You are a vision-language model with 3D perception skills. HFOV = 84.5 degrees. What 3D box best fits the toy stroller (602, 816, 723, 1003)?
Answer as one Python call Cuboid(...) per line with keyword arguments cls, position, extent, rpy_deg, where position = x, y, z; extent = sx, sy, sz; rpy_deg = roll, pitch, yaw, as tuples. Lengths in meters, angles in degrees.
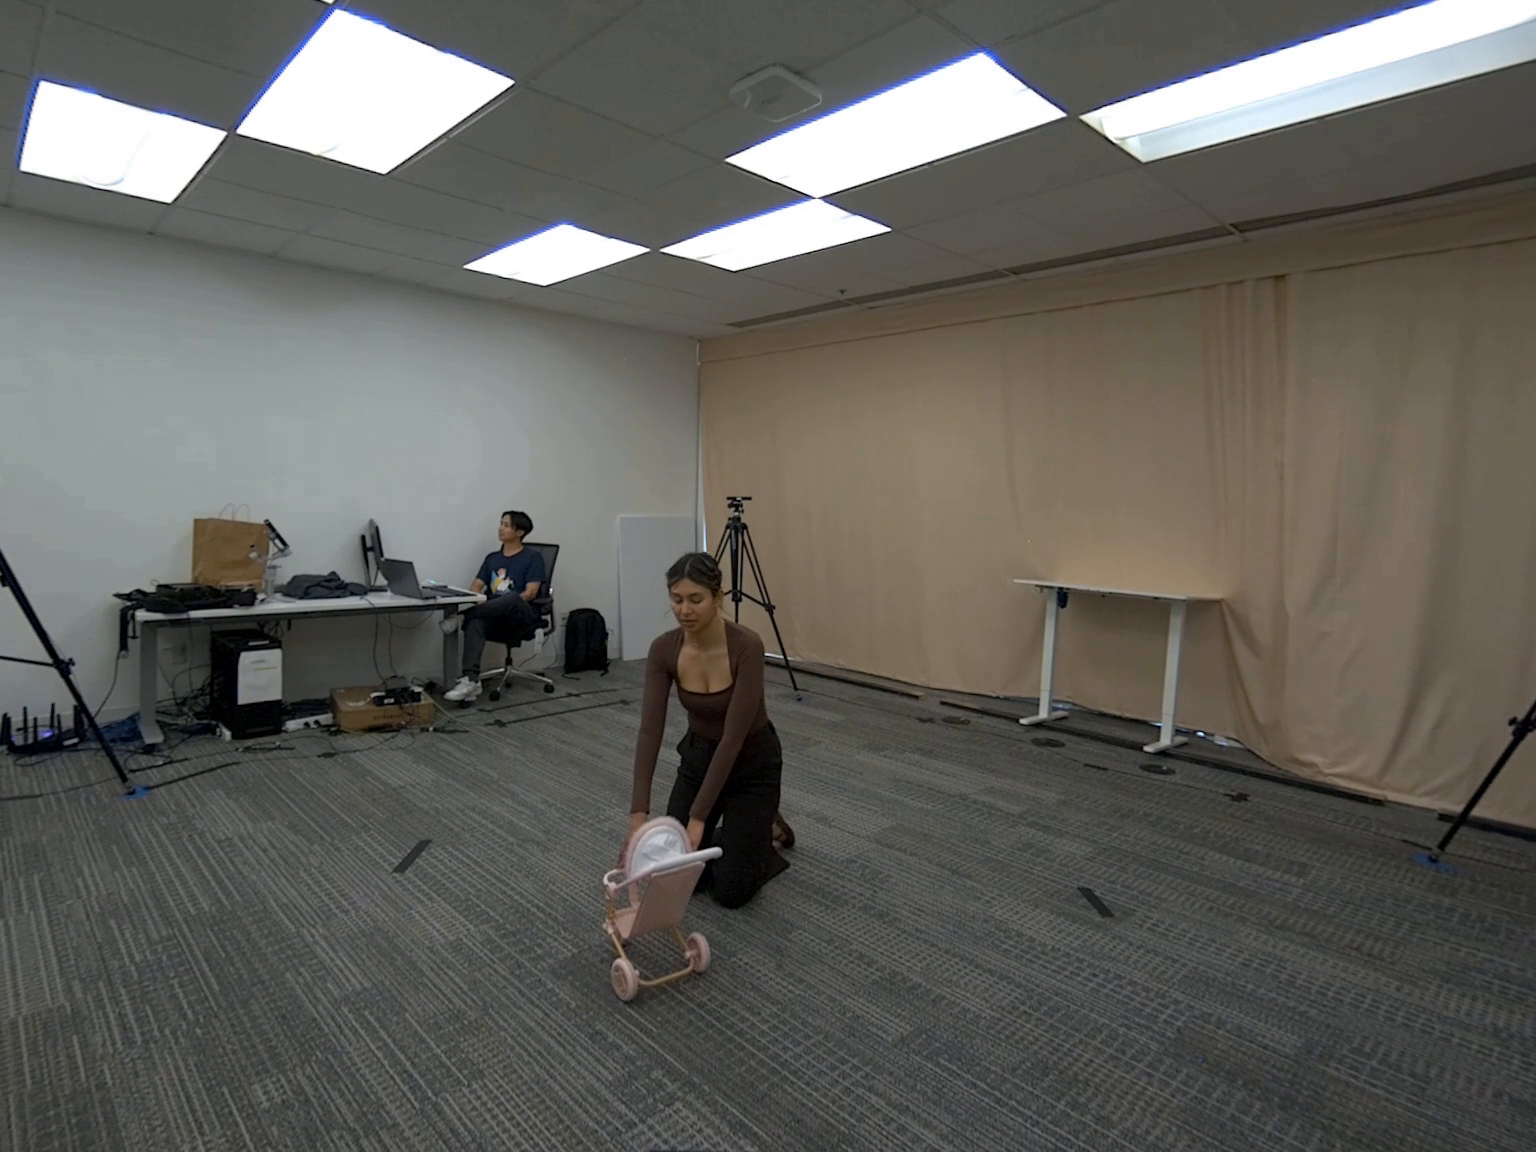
Cuboid(cls="toy stroller", position=(-0.335, 0.929, 2.452), extent=(0.275, 0.530, 0.352), rpy_deg=(1, 18, -34))
